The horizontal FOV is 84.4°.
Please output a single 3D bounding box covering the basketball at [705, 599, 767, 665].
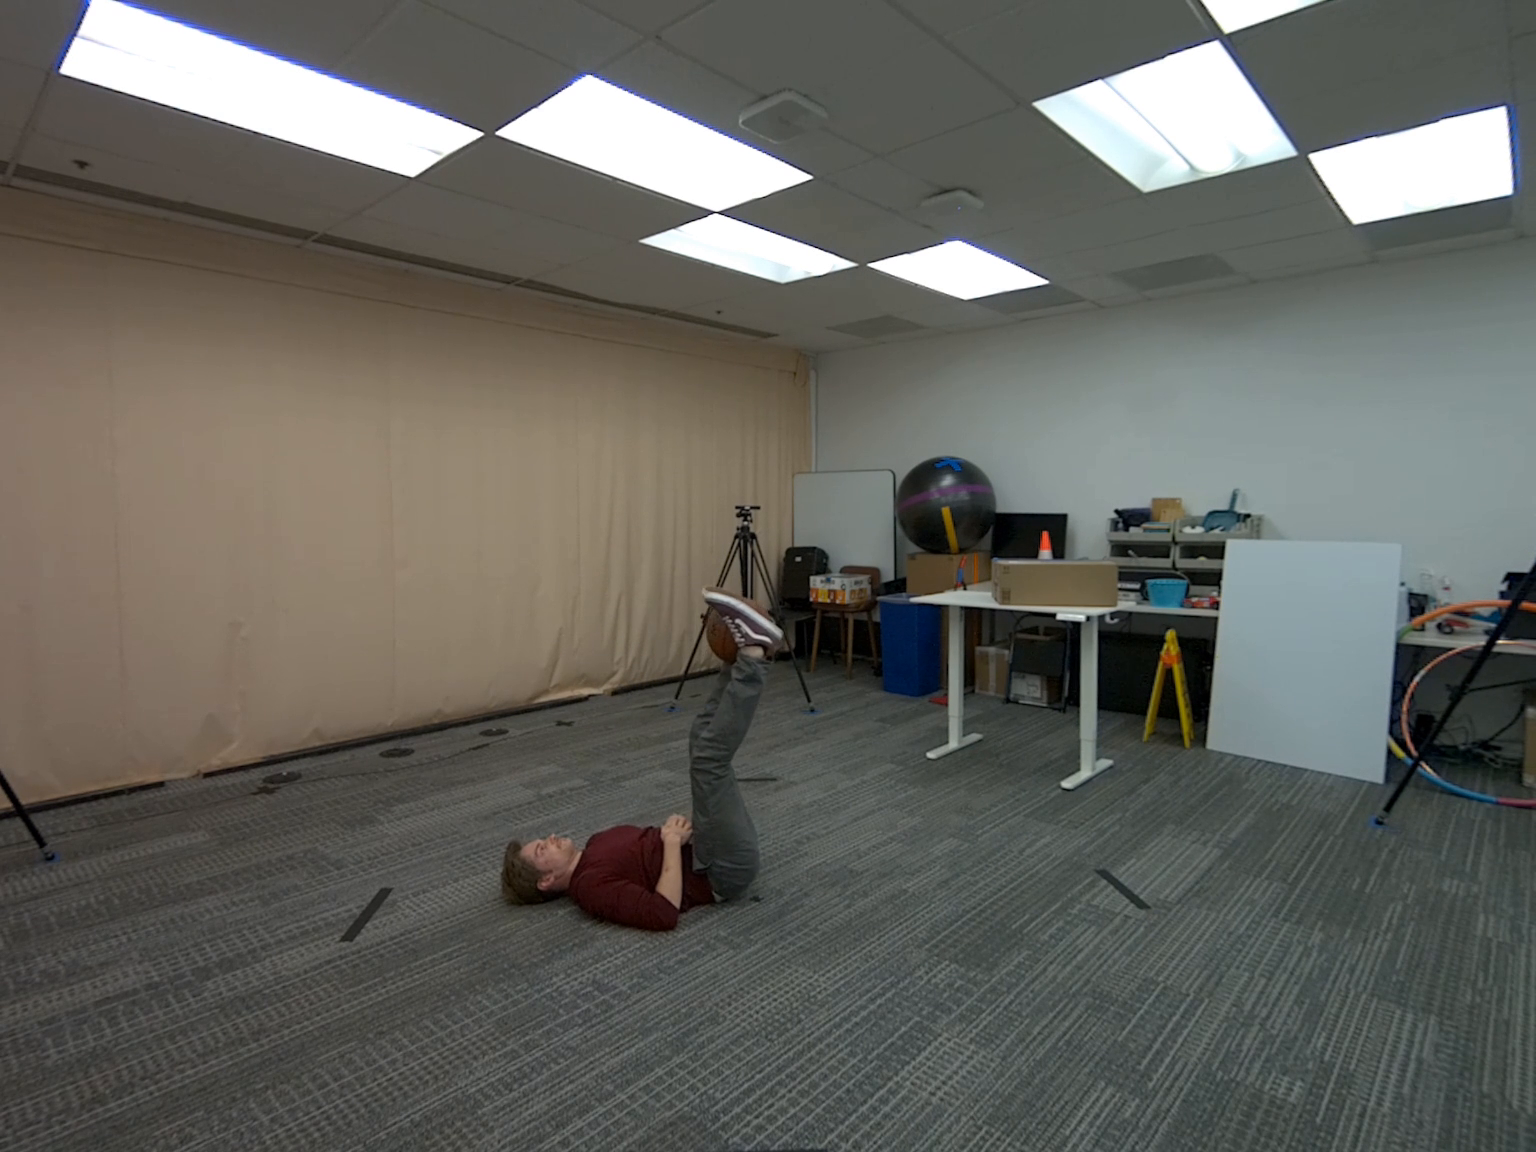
[{"bbox_3d":[-0.101,0.194,2.965,0.235,0.235,0.237,3,5,-2],"label":"basketball"}]
